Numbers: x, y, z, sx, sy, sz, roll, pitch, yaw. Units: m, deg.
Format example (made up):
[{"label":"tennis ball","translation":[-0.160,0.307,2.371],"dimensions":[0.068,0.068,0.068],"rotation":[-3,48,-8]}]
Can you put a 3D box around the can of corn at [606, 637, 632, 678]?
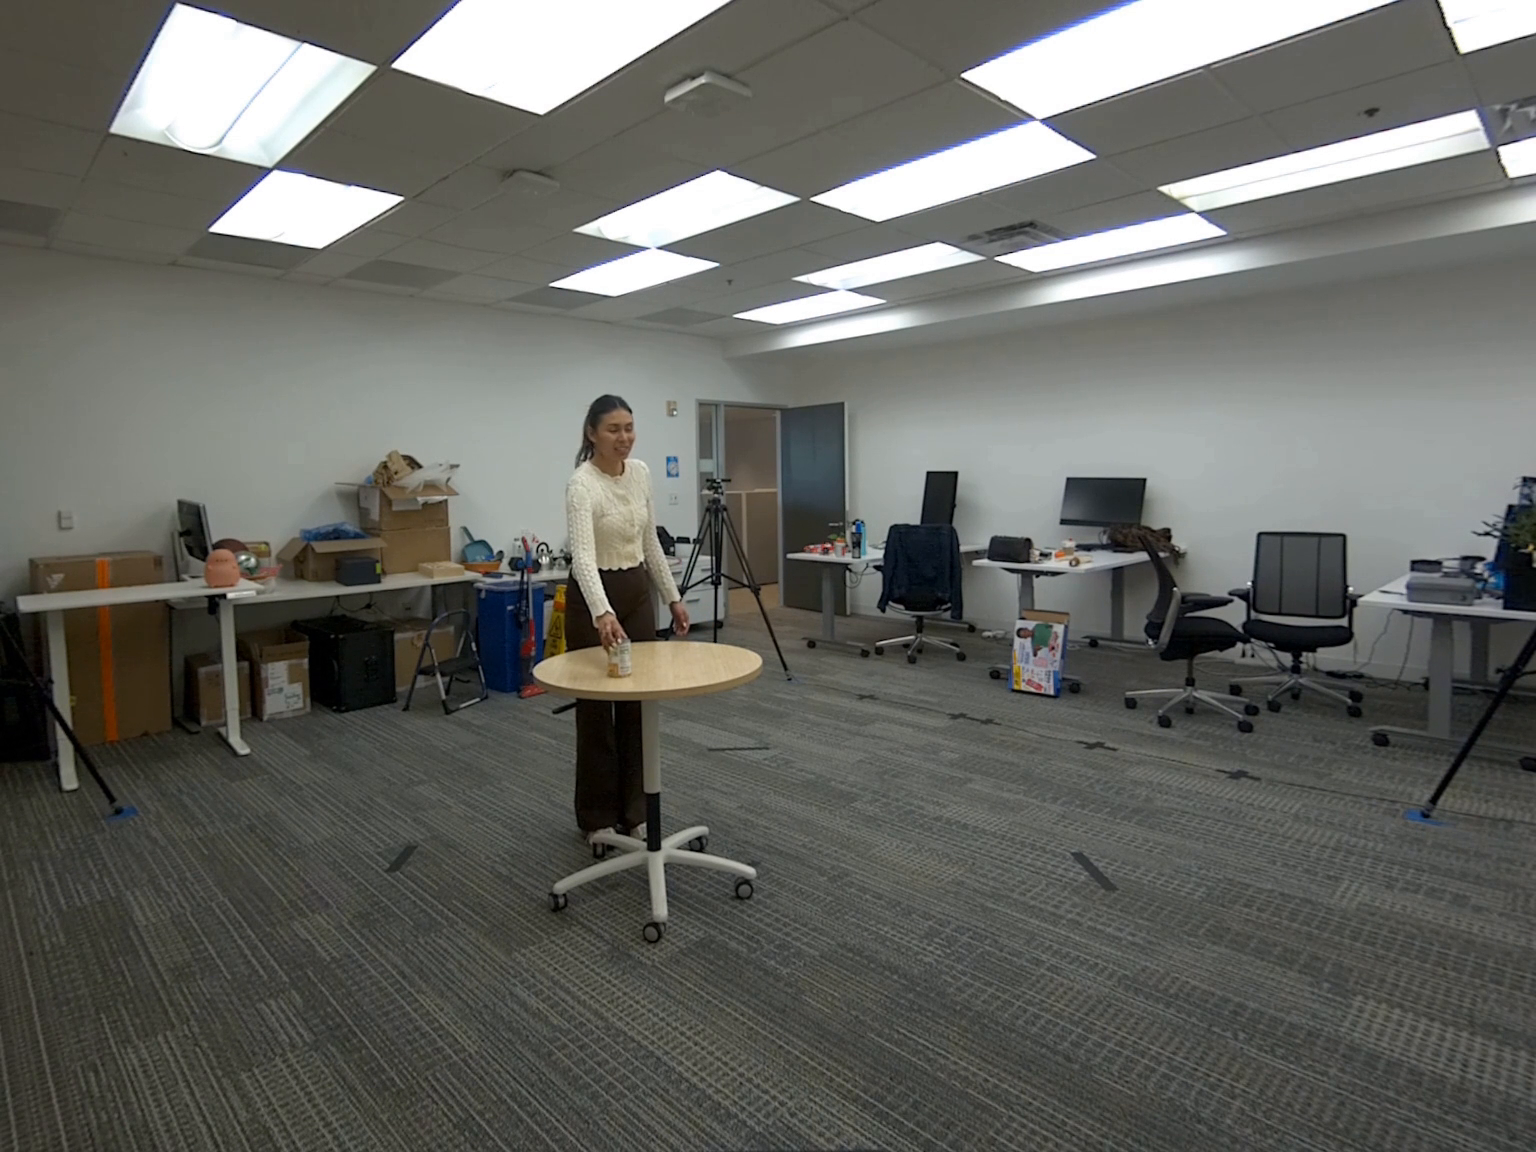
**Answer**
[{"label":"can of corn","translation":[-0.476,0.263,2.707],"dimensions":[0.074,0.111,0.074],"rotation":[-4,3,-1]}]
